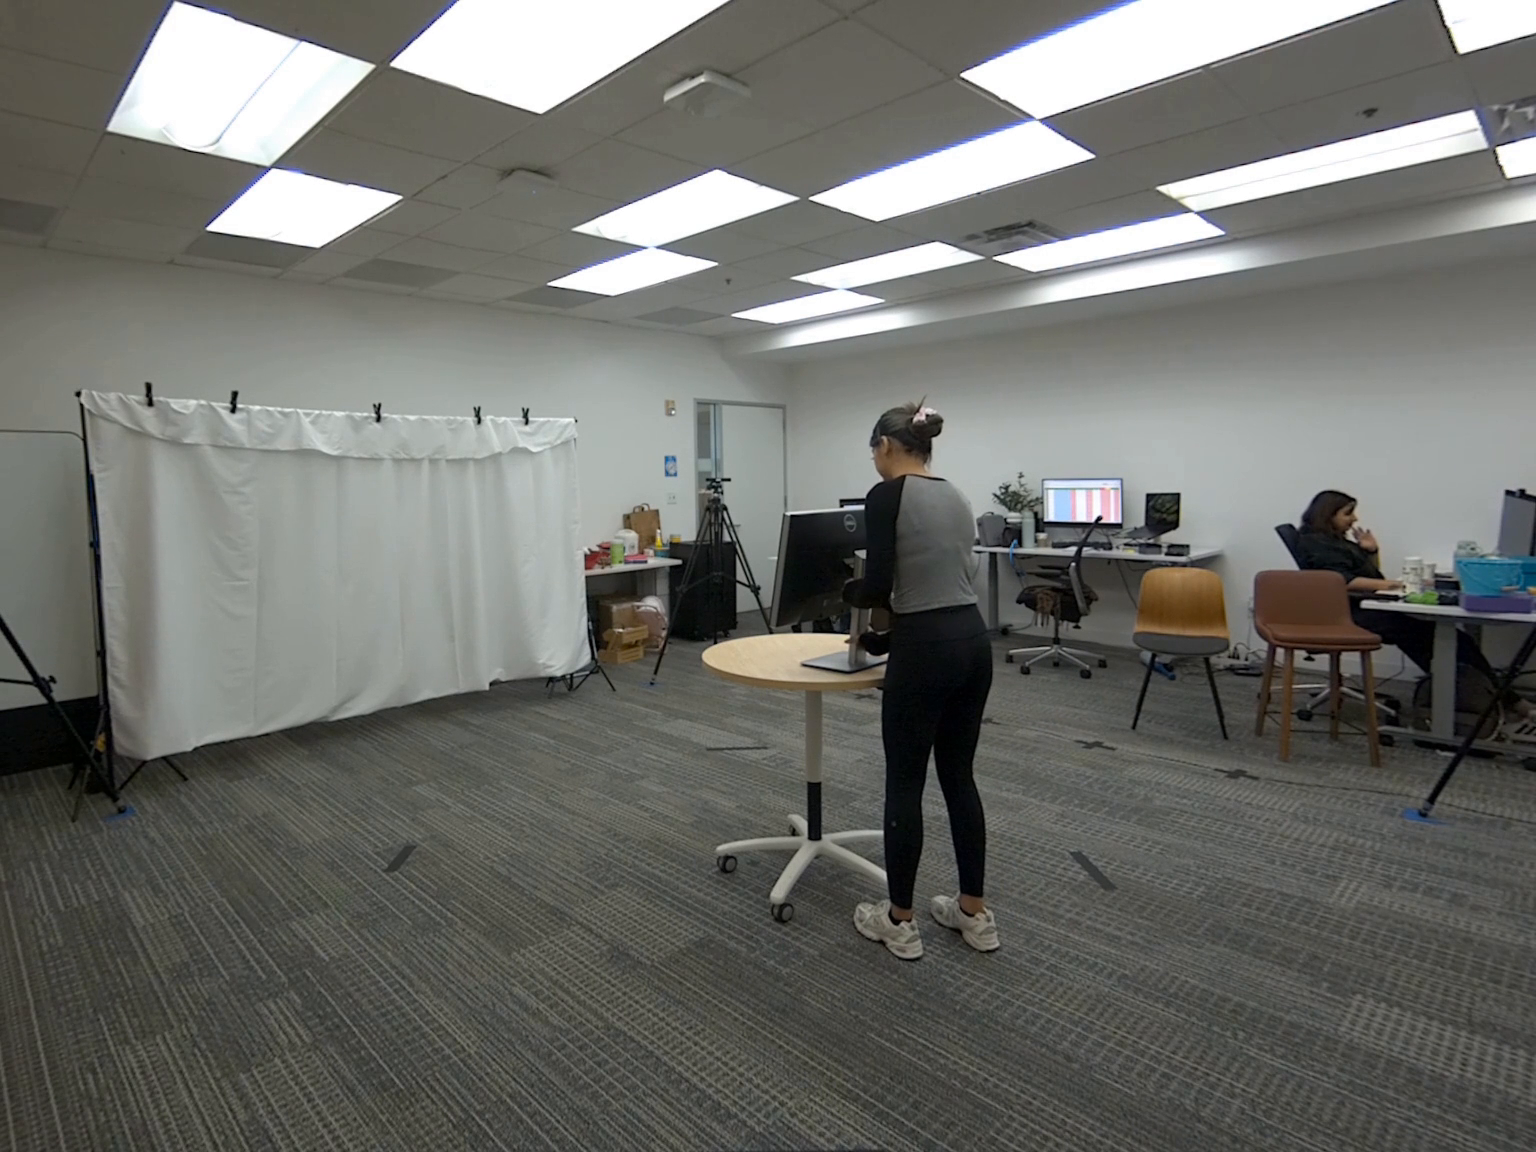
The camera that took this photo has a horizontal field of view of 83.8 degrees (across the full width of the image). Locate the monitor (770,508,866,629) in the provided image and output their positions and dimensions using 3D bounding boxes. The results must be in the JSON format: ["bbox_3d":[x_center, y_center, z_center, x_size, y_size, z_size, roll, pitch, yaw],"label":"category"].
[{"bbox_3d":[0.259,0.043,2.767,0.192,0.521,0.525,-2,3,42],"label":"monitor"}]
